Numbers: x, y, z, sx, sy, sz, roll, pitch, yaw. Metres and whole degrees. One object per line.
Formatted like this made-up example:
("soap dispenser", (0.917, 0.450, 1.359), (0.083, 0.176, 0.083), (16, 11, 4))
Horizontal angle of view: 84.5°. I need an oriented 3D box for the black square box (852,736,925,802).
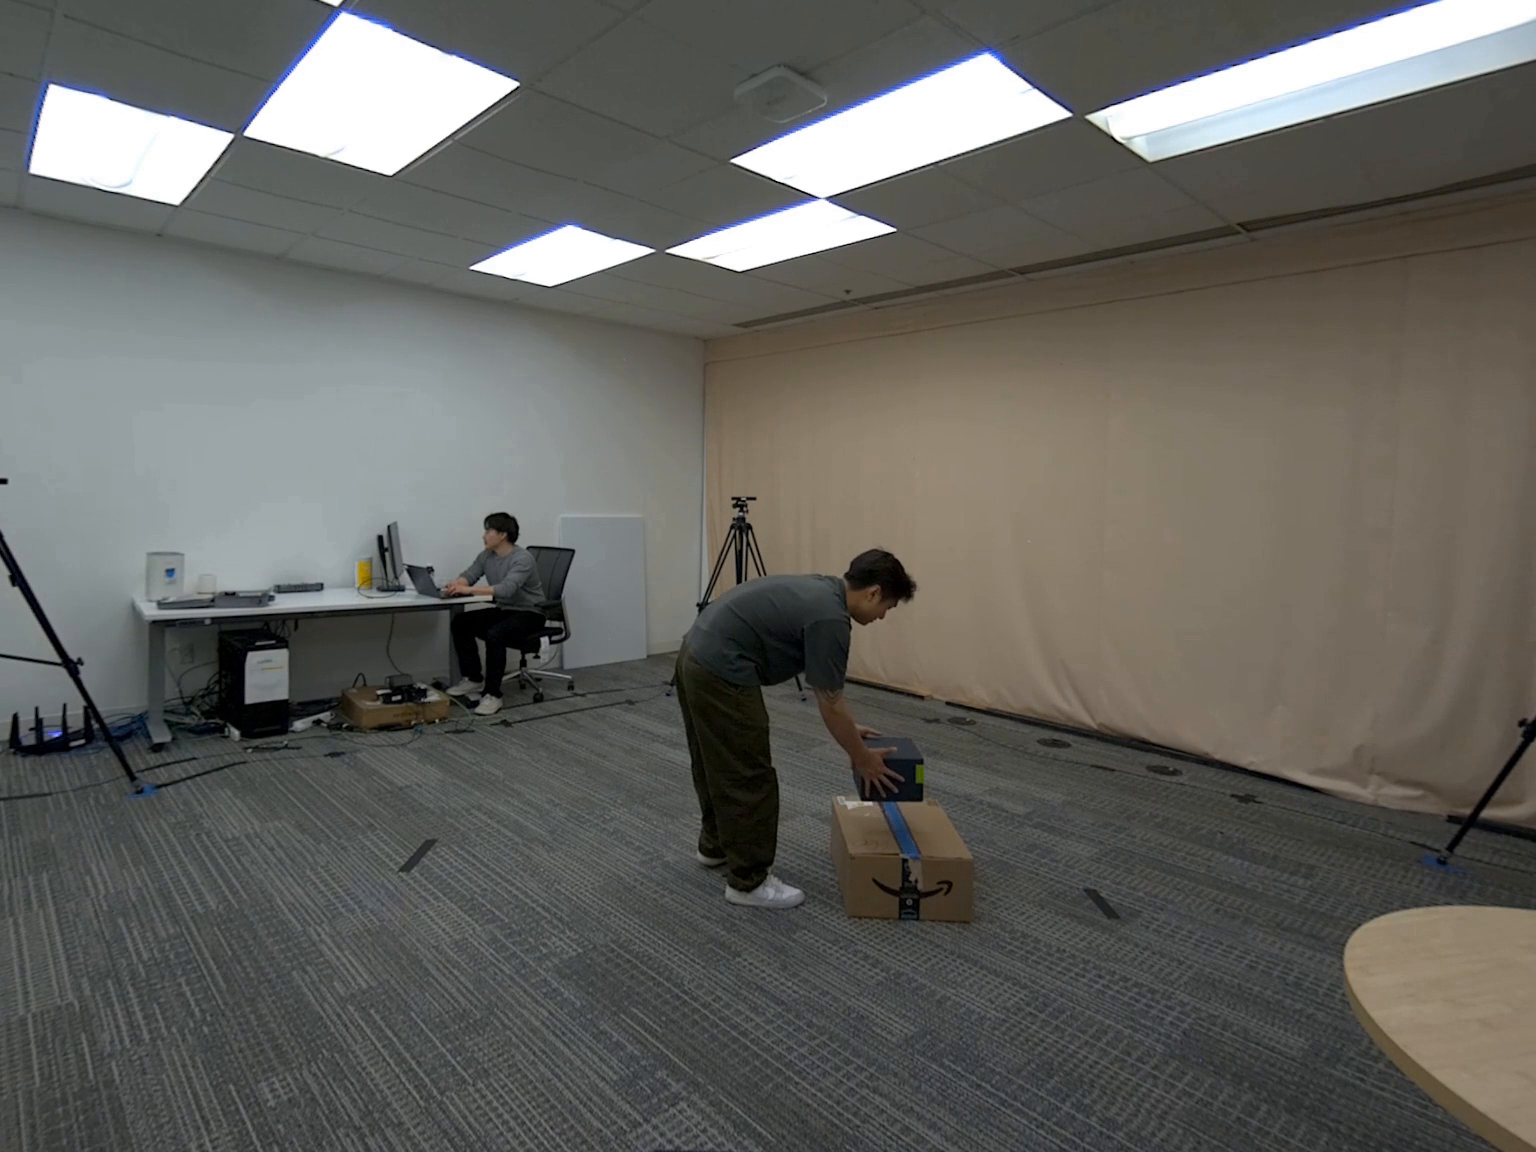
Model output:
("black square box", (0.421, 0.687, 2.996), (0.216, 0.155, 0.229), (1, 7, -4))
